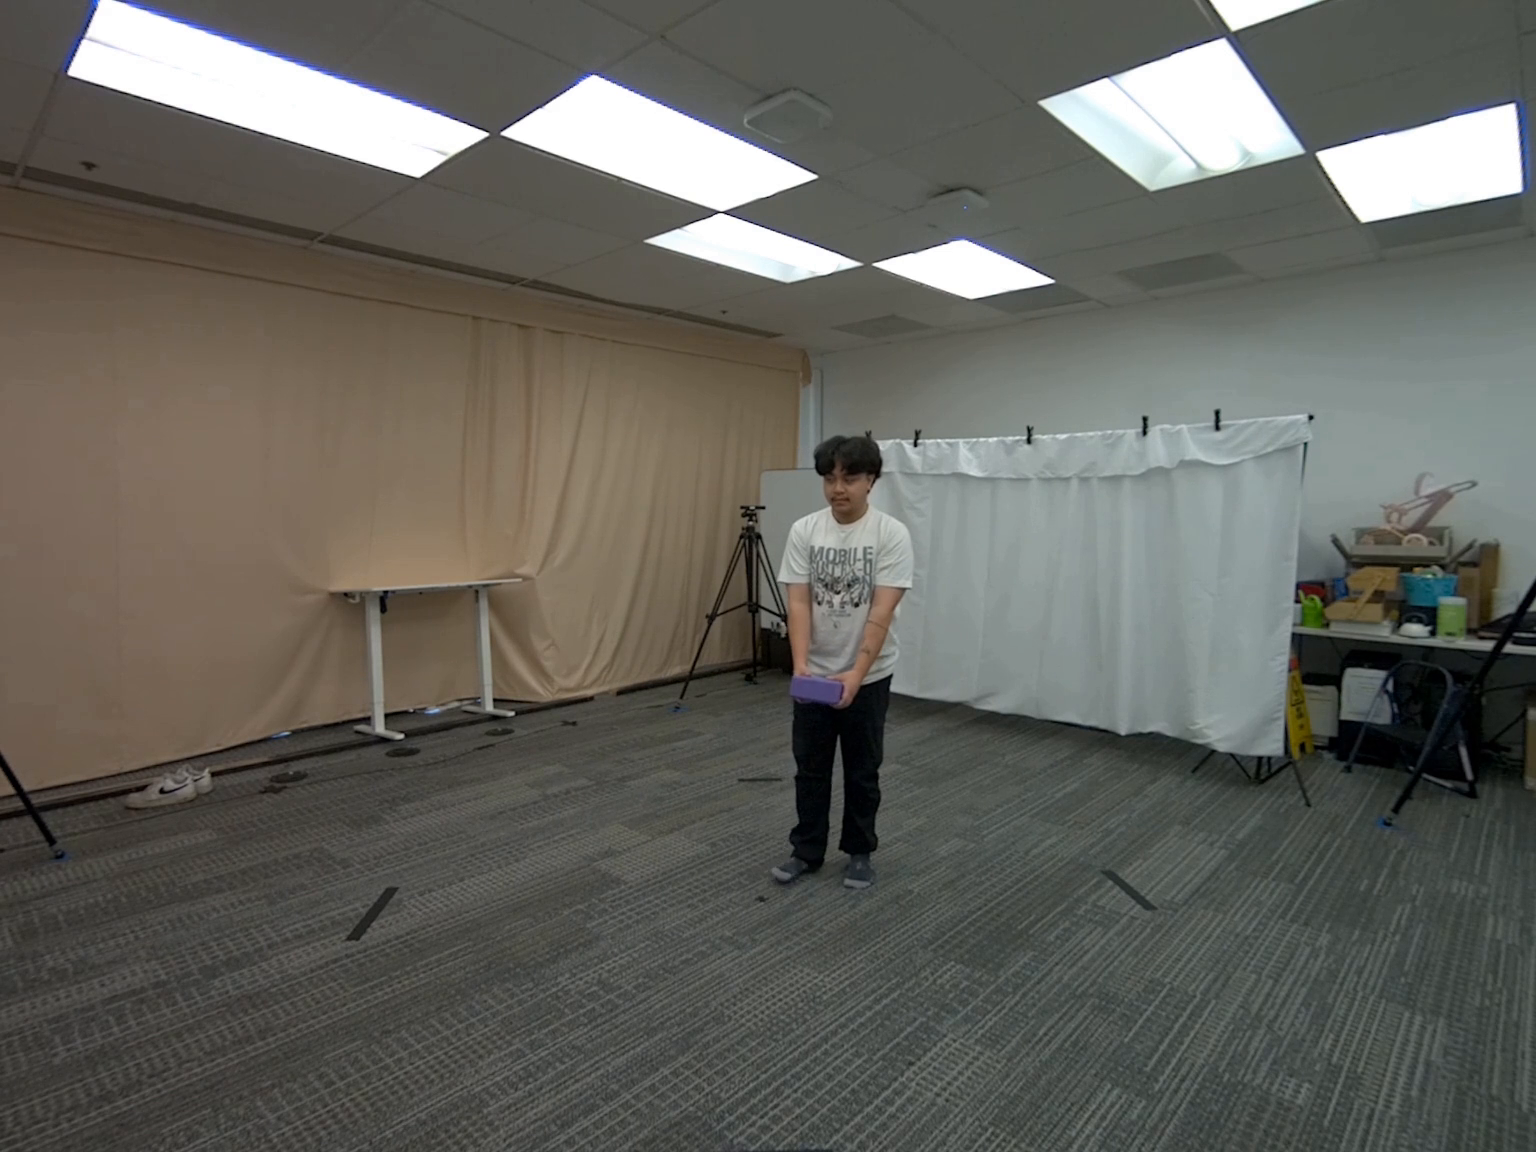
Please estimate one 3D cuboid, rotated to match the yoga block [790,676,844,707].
[{"bbox_3d":[0.183,0.386,2.886,0.152,0.076,0.224,6,-4,19],"label":"yoga block"}]
